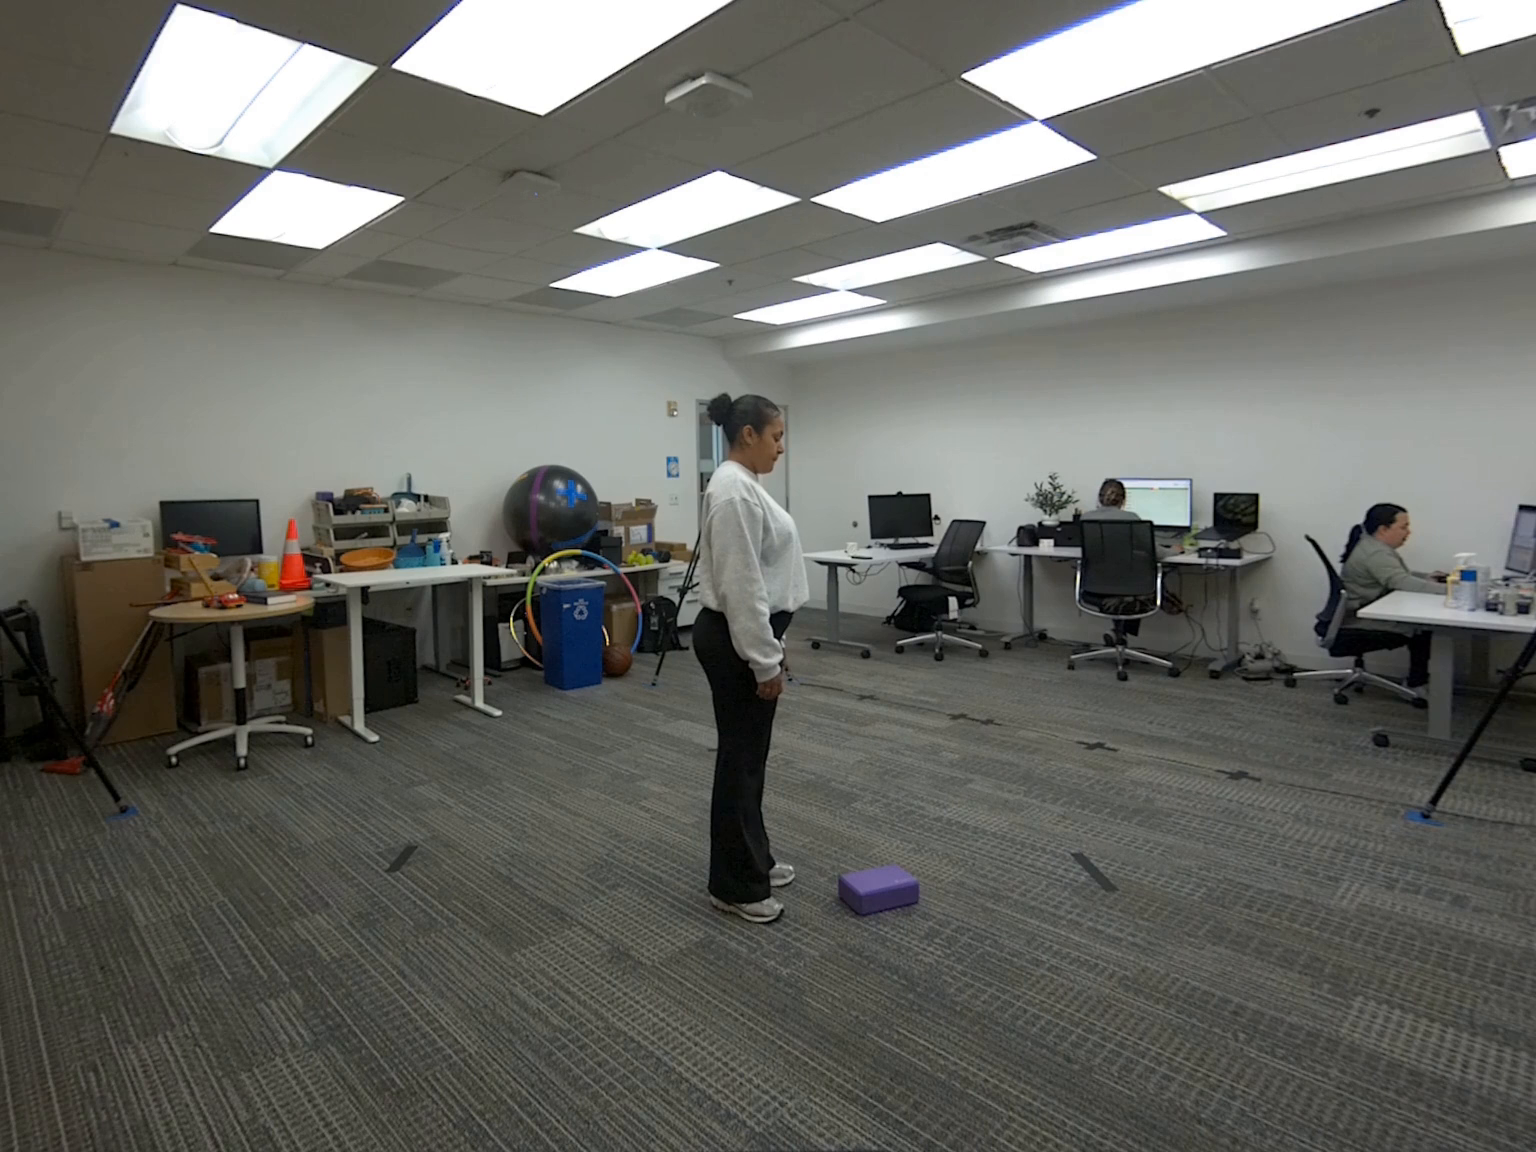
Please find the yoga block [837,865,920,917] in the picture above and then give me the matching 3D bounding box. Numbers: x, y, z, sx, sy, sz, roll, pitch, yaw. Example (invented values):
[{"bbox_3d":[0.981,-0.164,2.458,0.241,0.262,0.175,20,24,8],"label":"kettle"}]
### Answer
[{"bbox_3d":[0.365,1.024,2.813,0.225,0.076,0.152,-3,5,-23],"label":"yoga block"}]
